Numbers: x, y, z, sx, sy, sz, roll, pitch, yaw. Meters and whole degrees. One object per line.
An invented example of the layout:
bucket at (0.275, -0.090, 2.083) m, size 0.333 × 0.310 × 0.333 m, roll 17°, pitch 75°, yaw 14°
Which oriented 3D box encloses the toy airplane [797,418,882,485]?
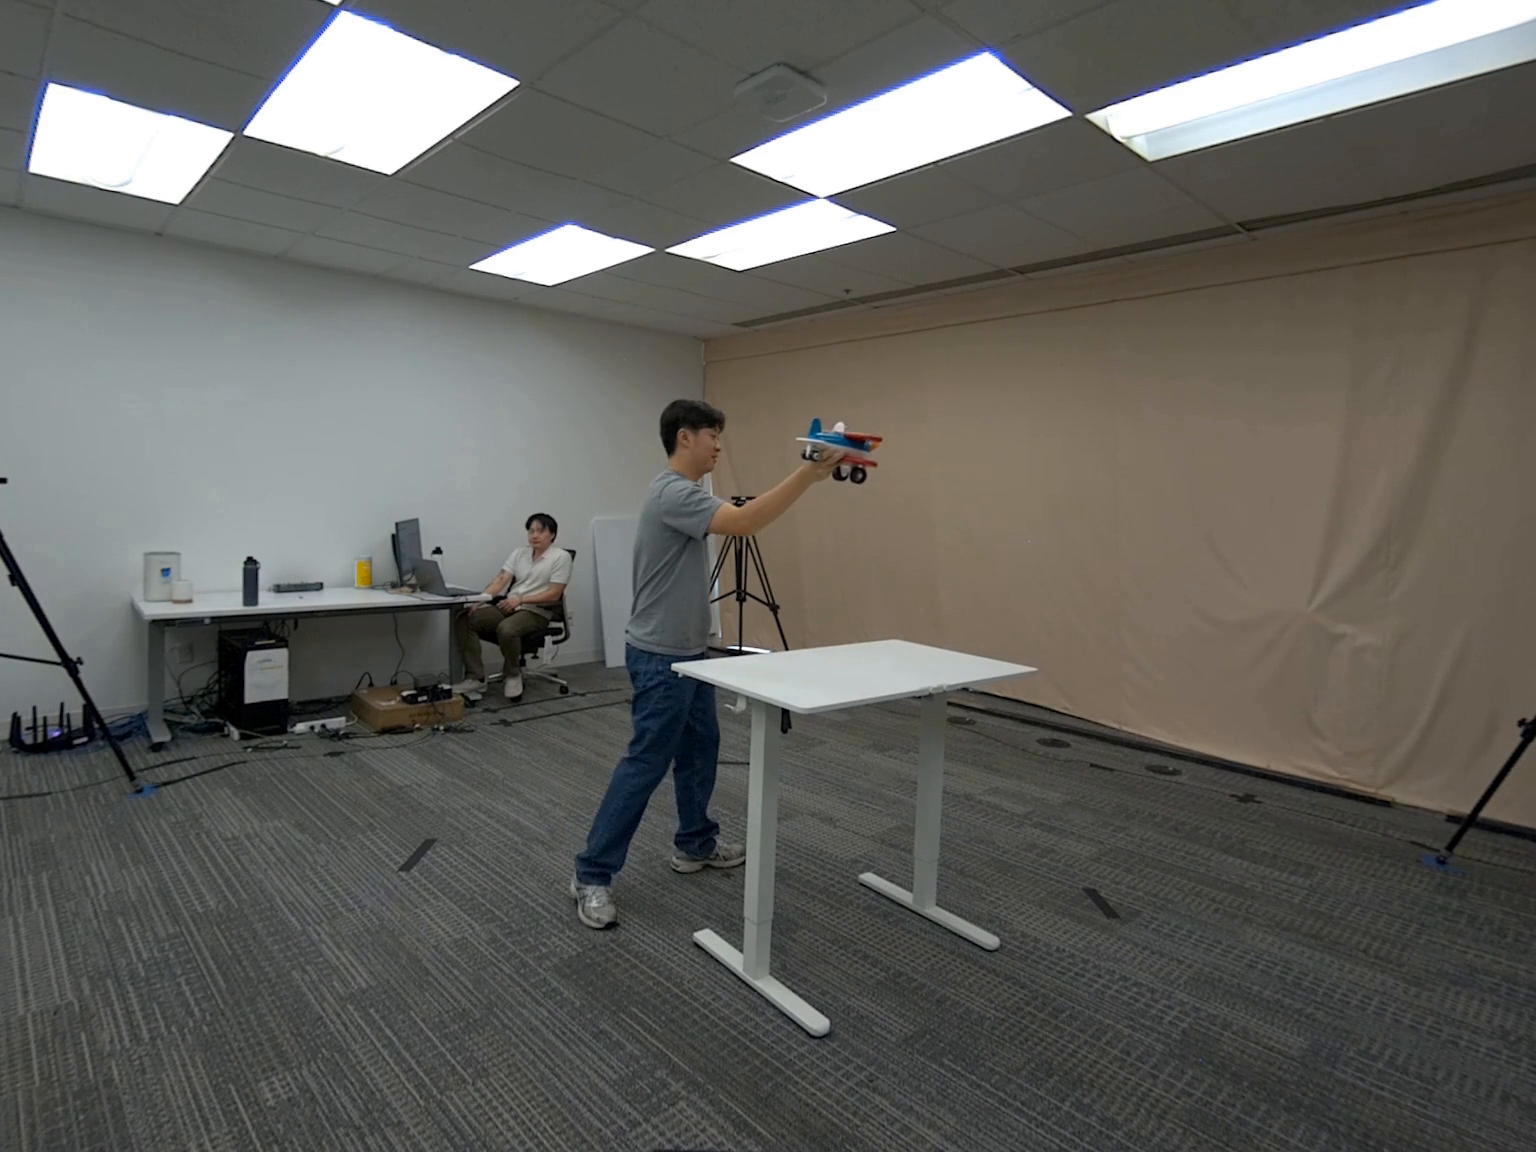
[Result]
toy airplane at (0.222, -0.400, 2.636) m, size 0.257 × 0.157 × 0.253 m, roll 19°, pitch -5°, yaw 25°
